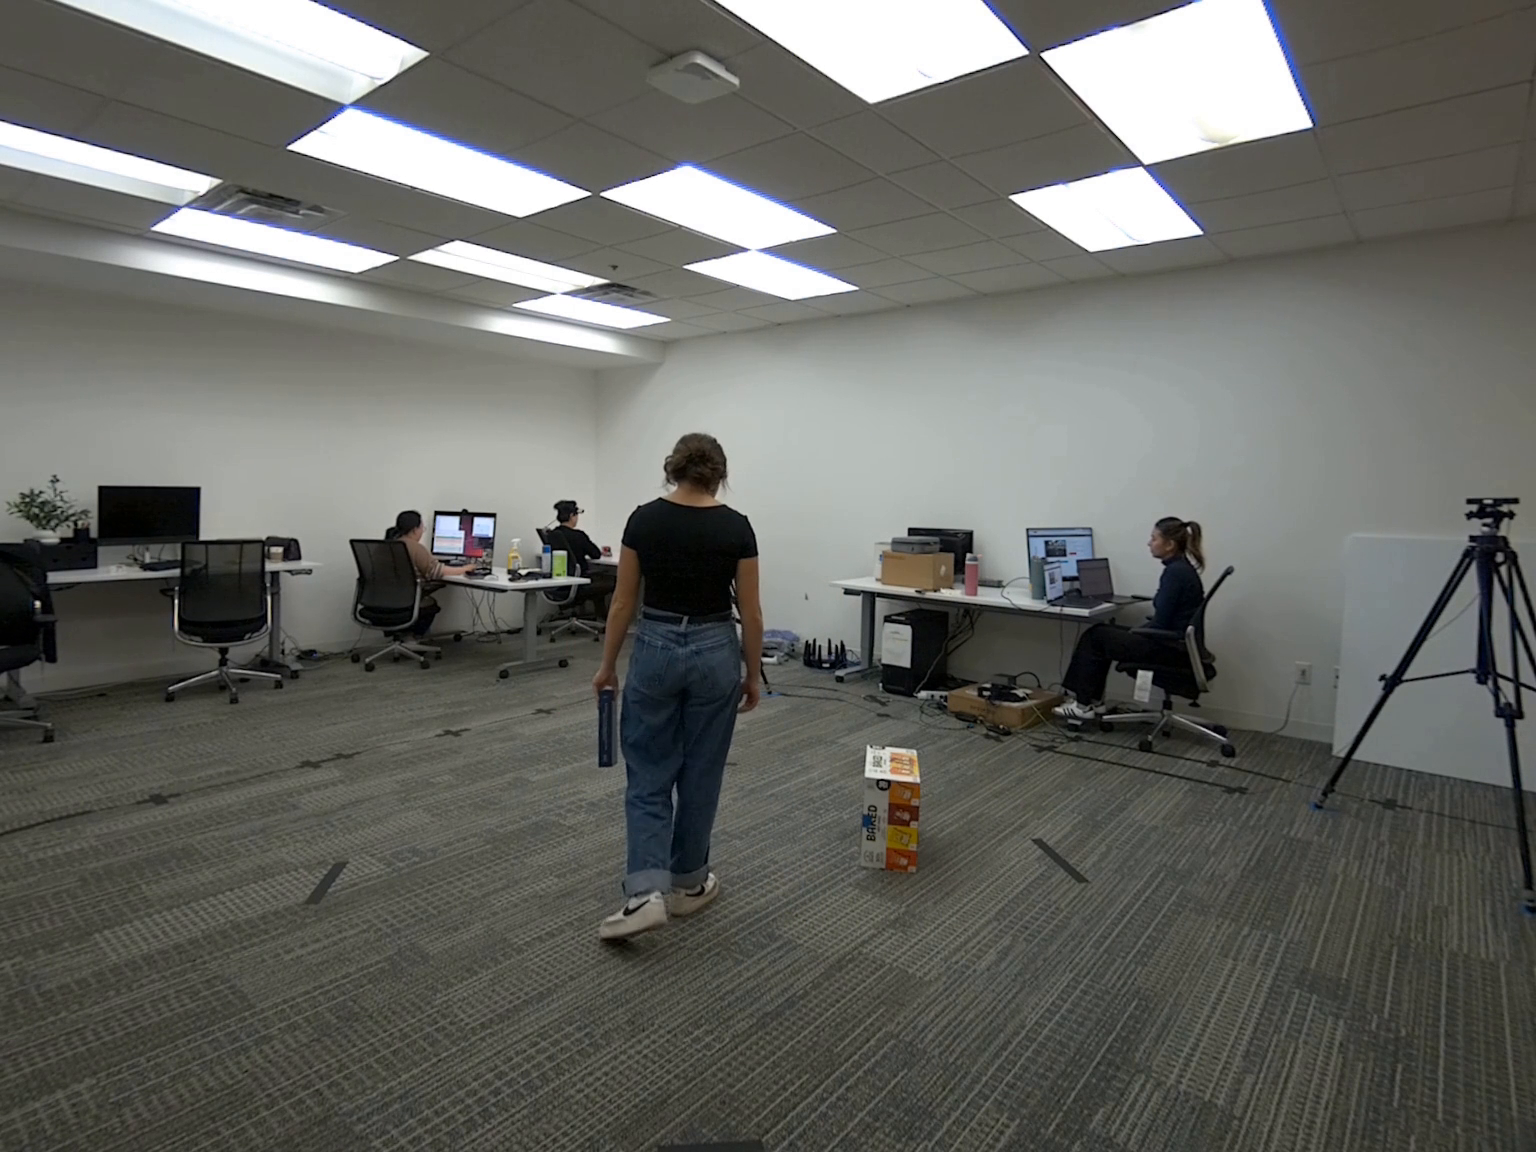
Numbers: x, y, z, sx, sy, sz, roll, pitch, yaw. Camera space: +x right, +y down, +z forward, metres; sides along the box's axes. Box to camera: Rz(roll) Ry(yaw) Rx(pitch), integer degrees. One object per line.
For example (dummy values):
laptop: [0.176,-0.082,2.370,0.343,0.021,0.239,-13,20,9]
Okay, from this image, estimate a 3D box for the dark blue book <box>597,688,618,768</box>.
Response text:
dark blue book: [-0.536,0.497,2.804,0.045,0.247,0.162,-1,-8,-4]
